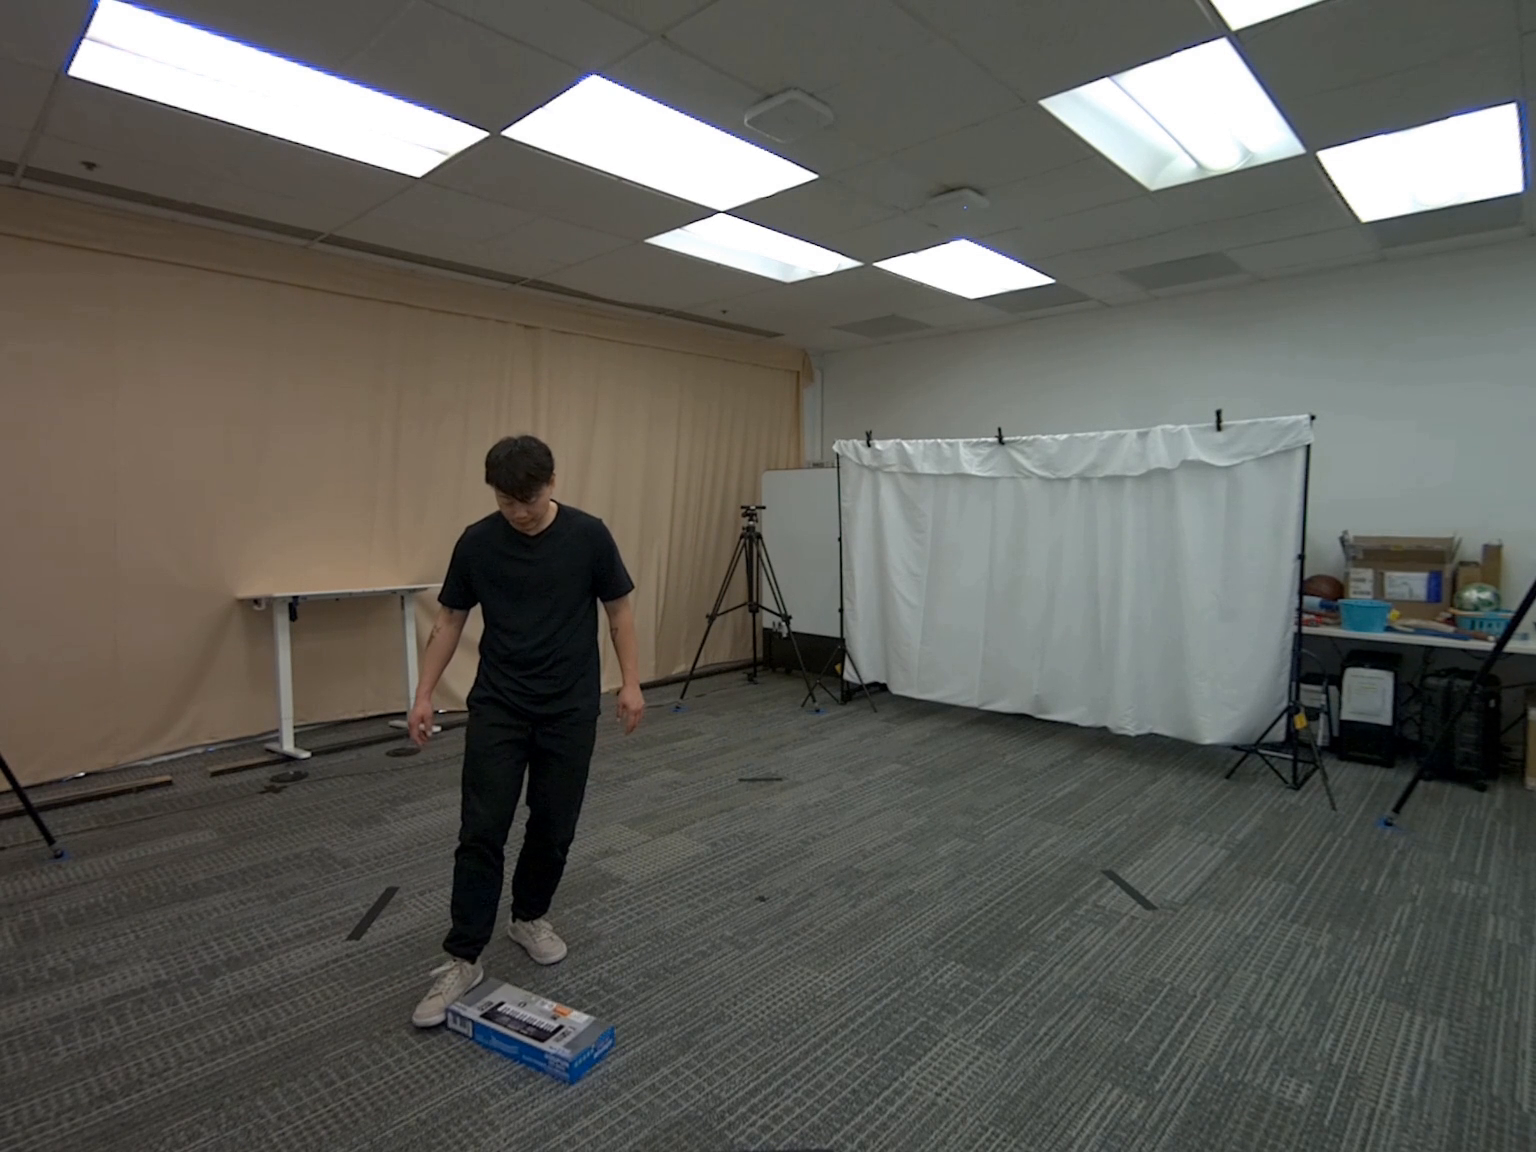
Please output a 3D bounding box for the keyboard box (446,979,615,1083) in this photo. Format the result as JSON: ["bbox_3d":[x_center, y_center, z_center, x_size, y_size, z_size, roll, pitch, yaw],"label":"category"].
[{"bbox_3d":[-0.628,1.186,2.205,0.449,0.059,0.171,2,5,30],"label":"keyboard box"}]
